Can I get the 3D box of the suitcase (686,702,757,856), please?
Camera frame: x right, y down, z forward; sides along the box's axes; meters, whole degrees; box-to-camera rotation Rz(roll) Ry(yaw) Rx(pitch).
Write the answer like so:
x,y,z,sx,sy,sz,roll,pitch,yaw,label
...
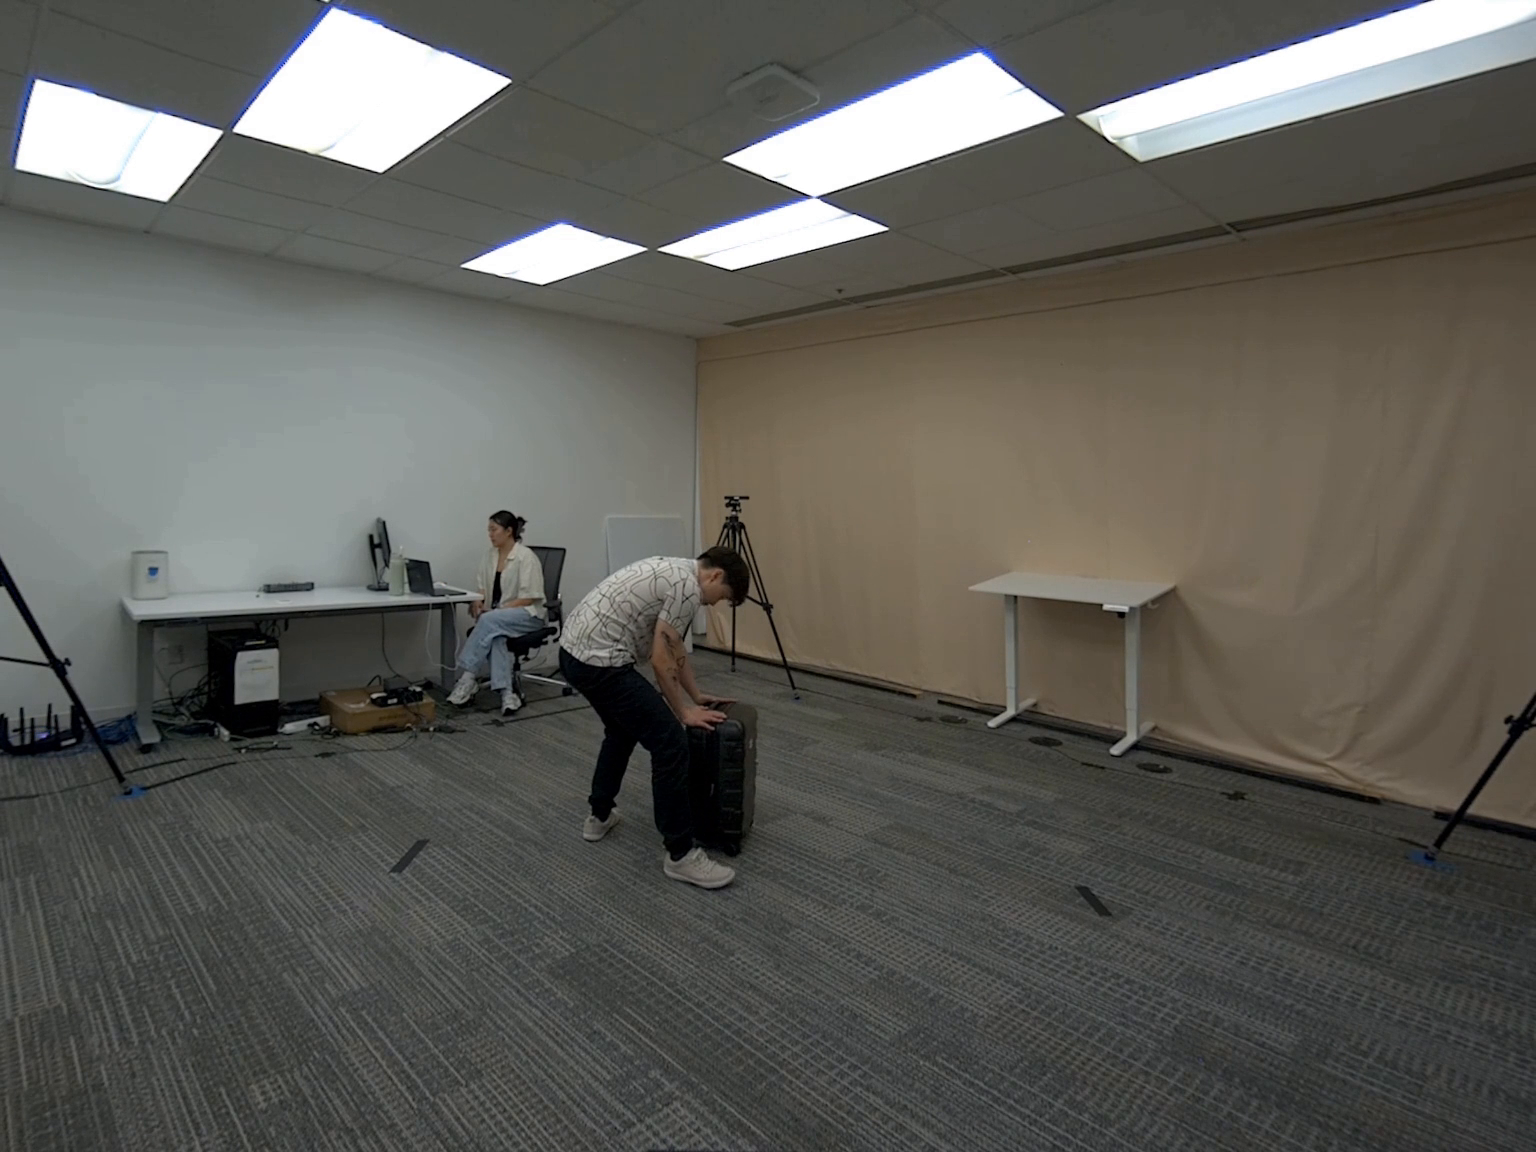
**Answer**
x,y,z,sx,sy,sz,roll,pitch,yaw,label
-0.204,0.798,3.420,0.250,0.547,0.373,4,5,9,suitcase
